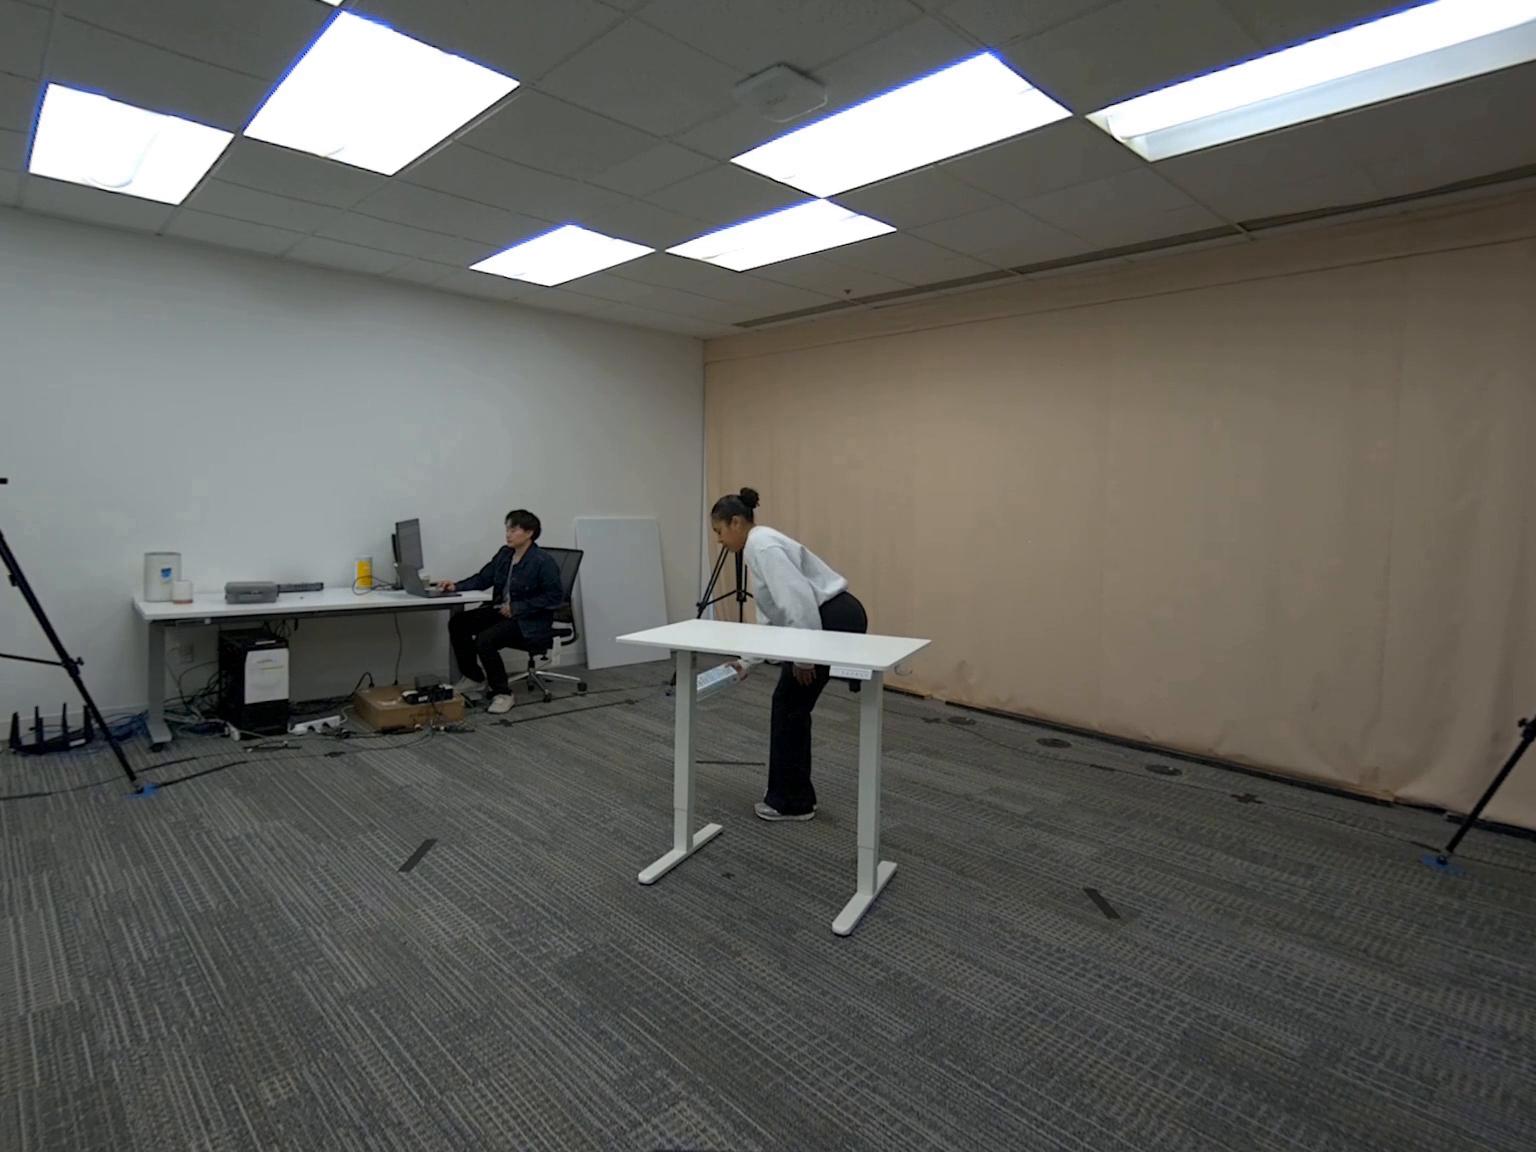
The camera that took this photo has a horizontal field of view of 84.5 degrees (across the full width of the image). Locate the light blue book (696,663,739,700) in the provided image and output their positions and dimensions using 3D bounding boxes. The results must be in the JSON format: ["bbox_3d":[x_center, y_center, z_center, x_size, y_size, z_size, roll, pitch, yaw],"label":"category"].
[{"bbox_3d":[-0.276,0.498,3.861,0.259,0.058,0.194,-21,10,-11],"label":"light blue book"}]
